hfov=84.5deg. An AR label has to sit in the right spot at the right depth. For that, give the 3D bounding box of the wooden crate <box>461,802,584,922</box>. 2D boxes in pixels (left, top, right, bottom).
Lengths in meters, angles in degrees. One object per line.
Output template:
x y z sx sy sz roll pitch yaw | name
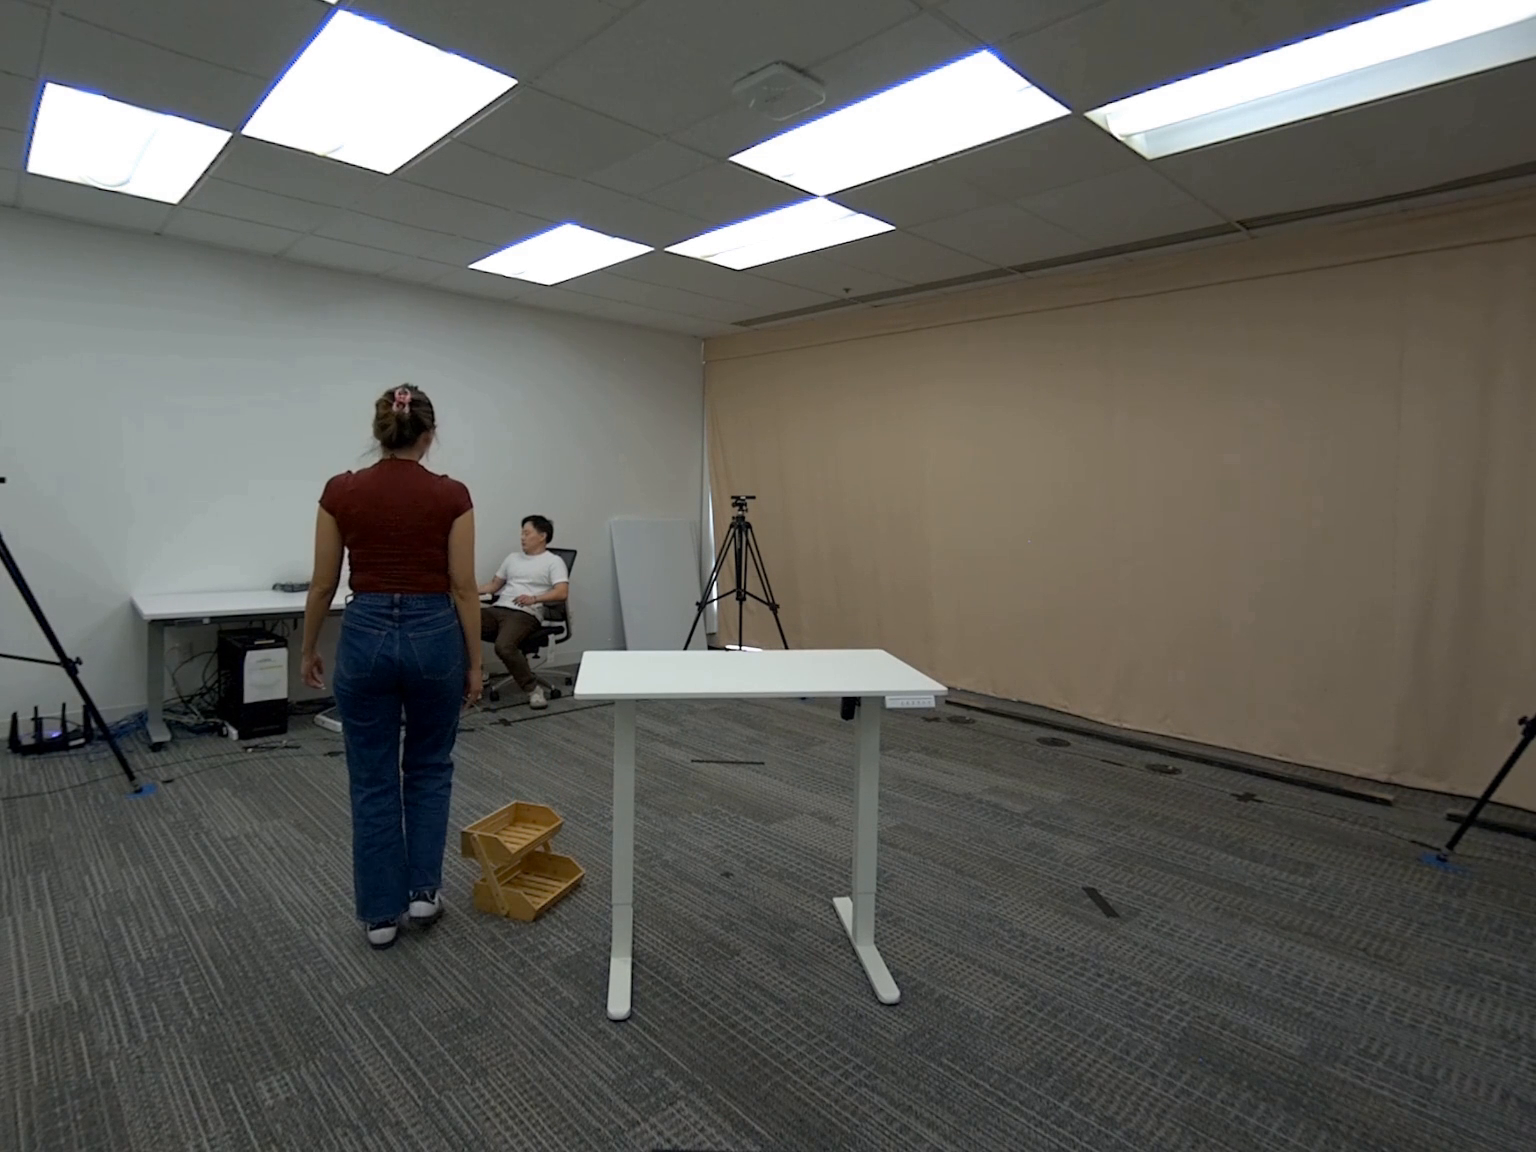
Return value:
-0.842 0.974 2.905 0.307 0.272 0.320 2 5 20 | wooden crate
